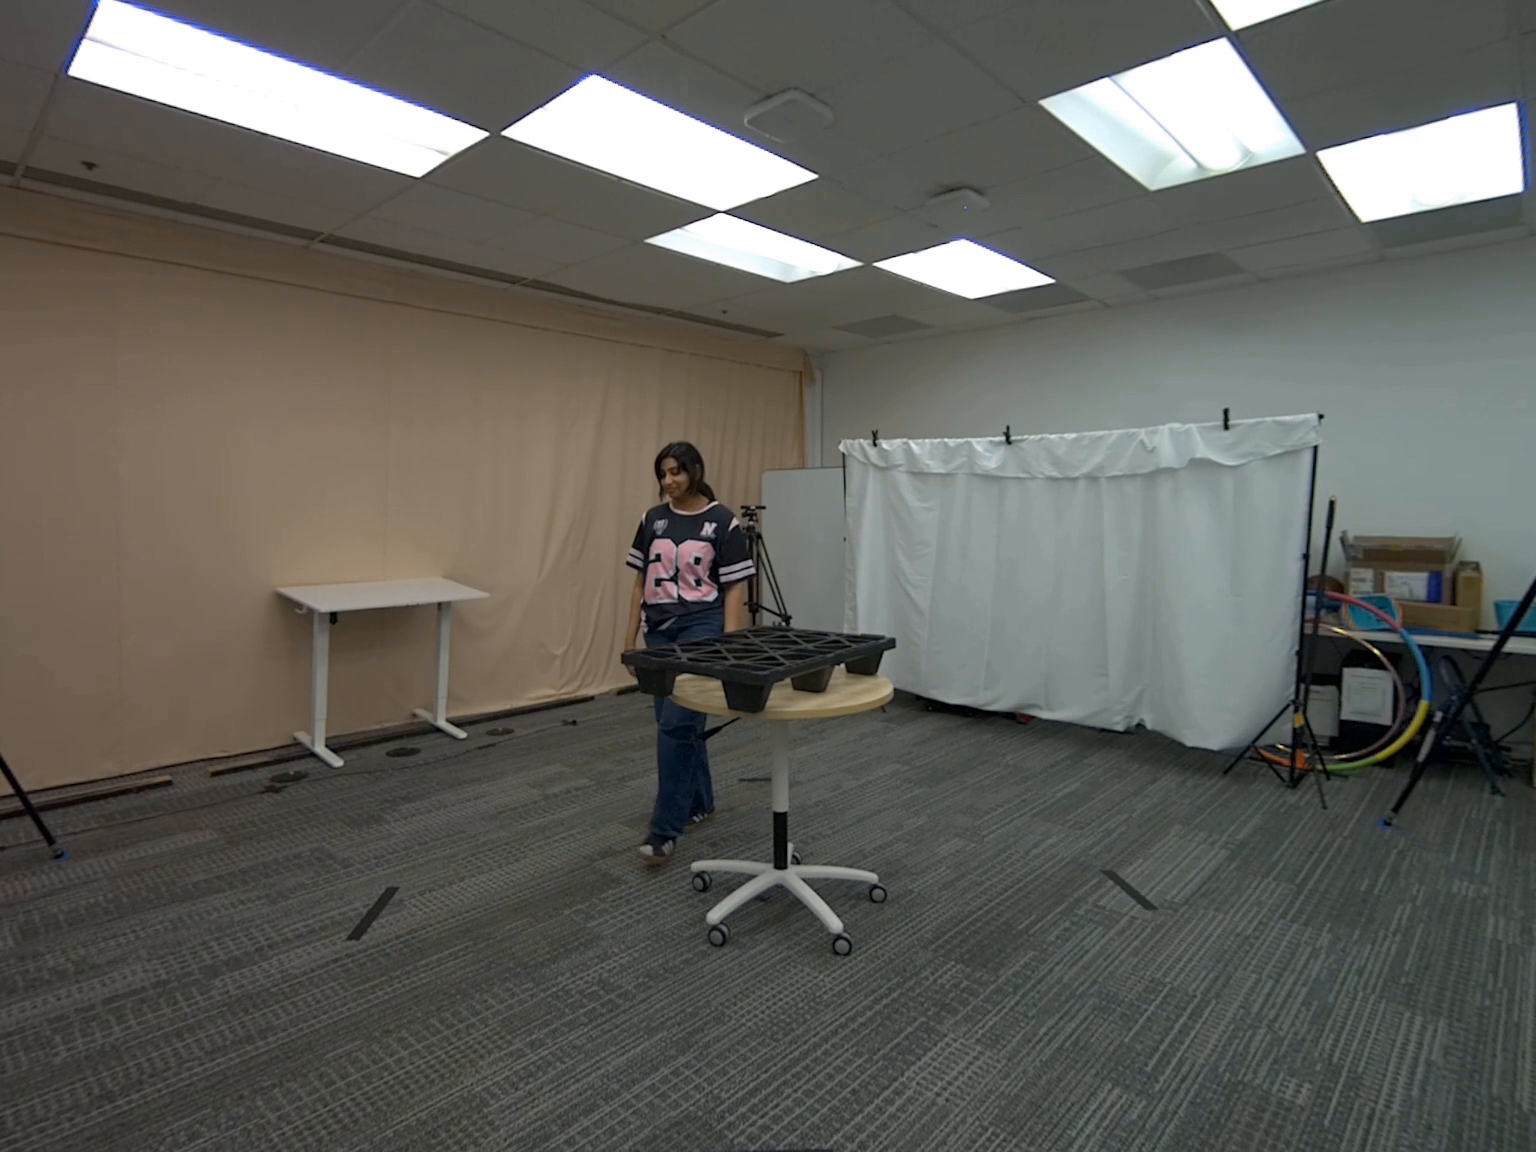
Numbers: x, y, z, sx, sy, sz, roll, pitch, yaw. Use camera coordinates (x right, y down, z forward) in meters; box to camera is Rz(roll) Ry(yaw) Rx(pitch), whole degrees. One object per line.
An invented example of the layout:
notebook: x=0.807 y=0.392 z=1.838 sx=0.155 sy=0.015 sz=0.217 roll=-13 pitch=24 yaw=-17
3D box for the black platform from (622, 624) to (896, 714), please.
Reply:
black platform: x=-0.016 y=0.307 z=2.879 sx=0.625 sy=0.143 sz=0.781 roll=2 pitch=5 yaw=38
